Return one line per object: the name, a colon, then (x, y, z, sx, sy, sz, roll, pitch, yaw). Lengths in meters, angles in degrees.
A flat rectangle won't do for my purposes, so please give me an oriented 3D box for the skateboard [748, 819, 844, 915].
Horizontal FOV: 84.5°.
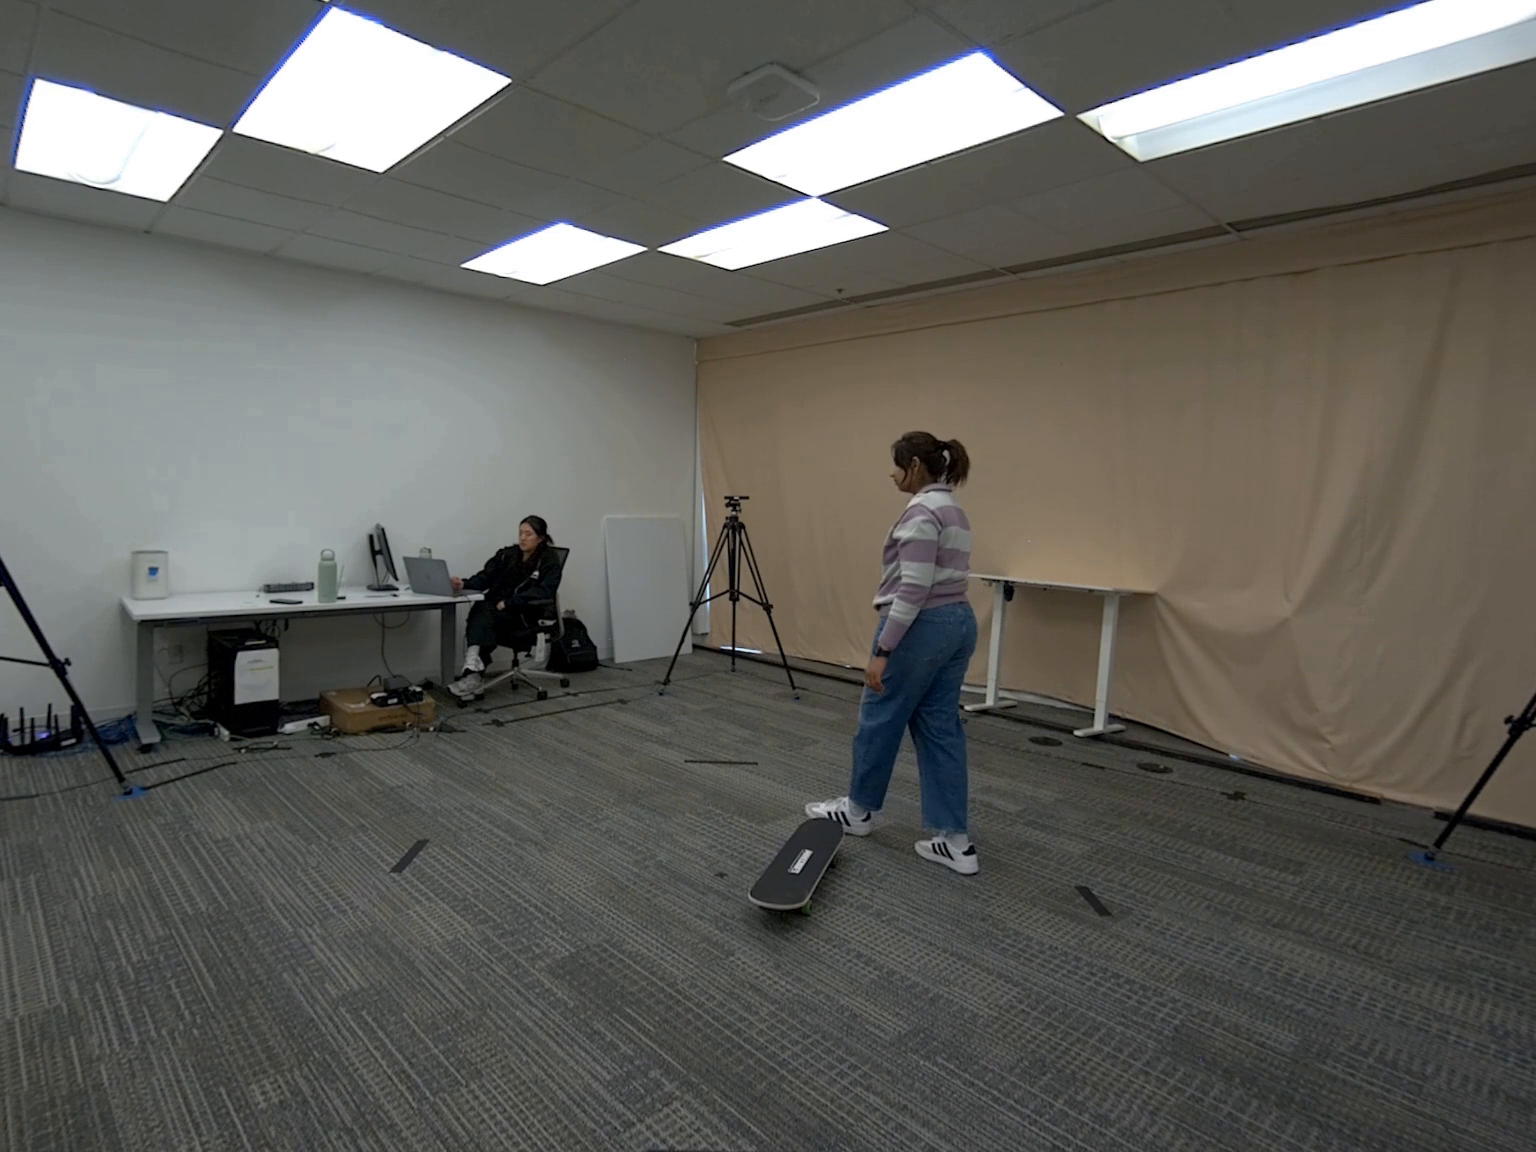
skateboard: (0.112, 1.057, 3.032, 0.196, 0.110, 0.777, 2, 5, 16)
